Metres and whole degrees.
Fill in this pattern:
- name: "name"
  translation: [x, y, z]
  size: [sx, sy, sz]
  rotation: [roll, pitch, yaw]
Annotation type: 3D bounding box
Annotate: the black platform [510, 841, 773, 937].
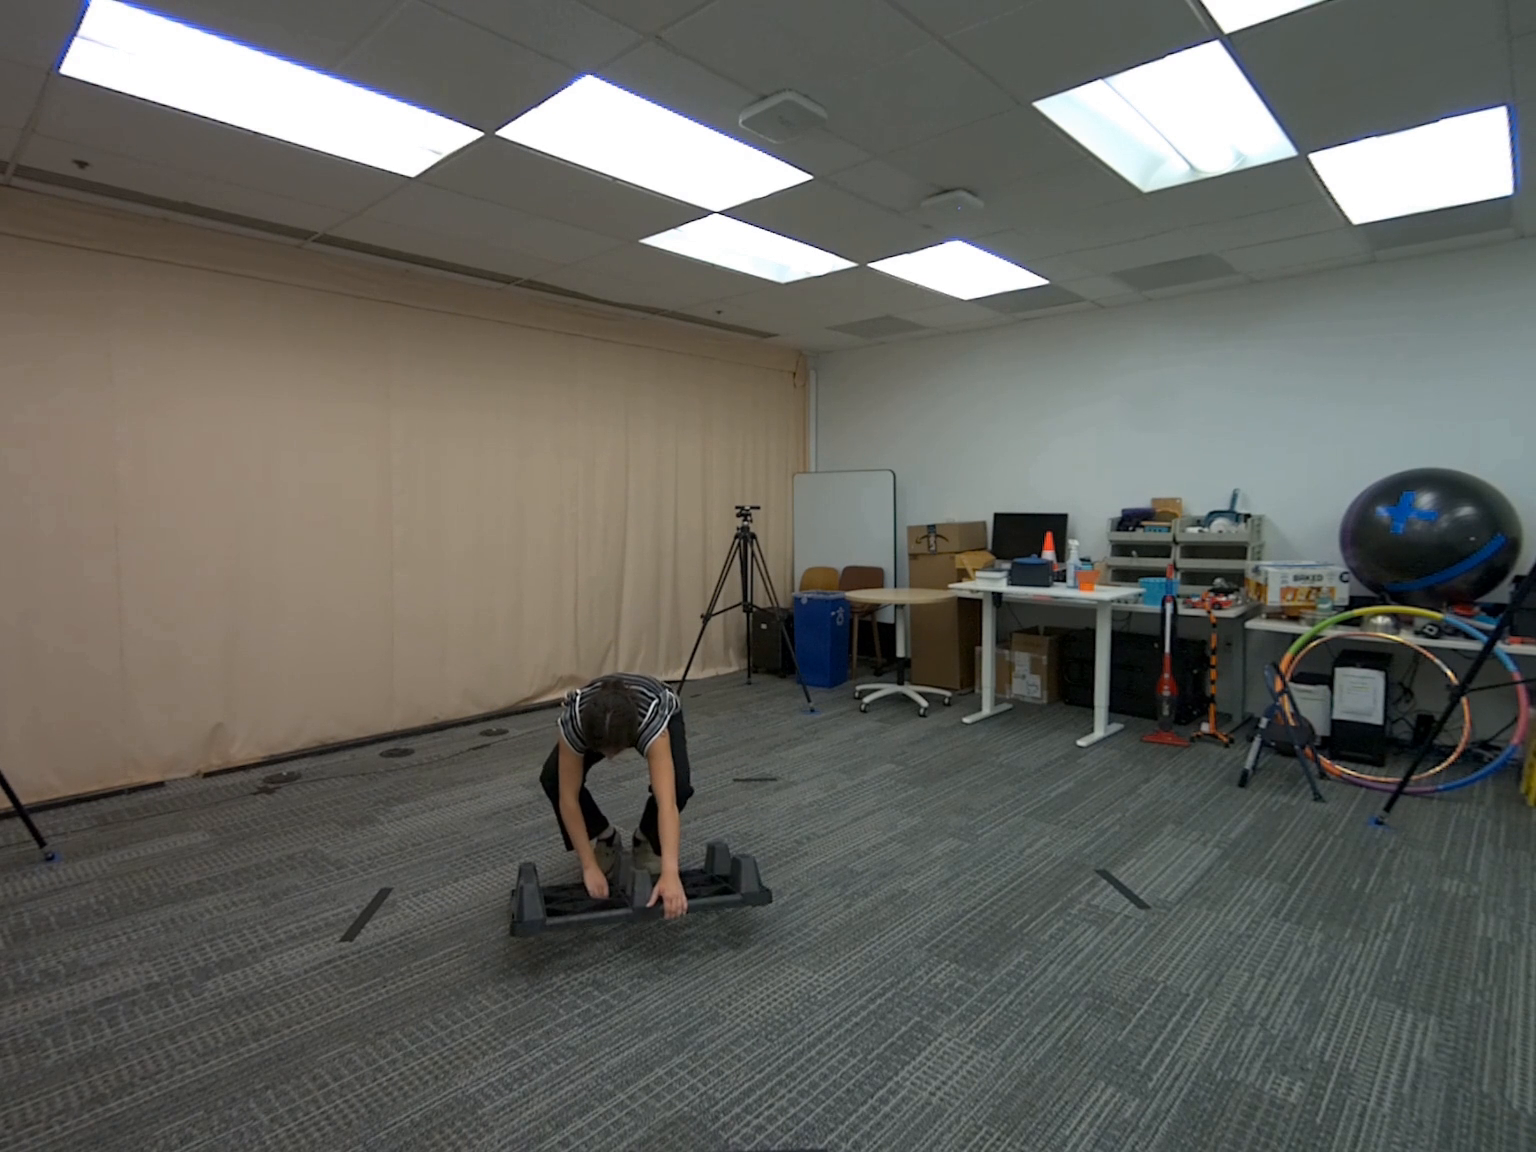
- name: "black platform"
  translation: [-0.448, 1.019, 2.807]
  size: [0.793, 0.144, 0.609]
  rotation: [-2, -11, -15]
